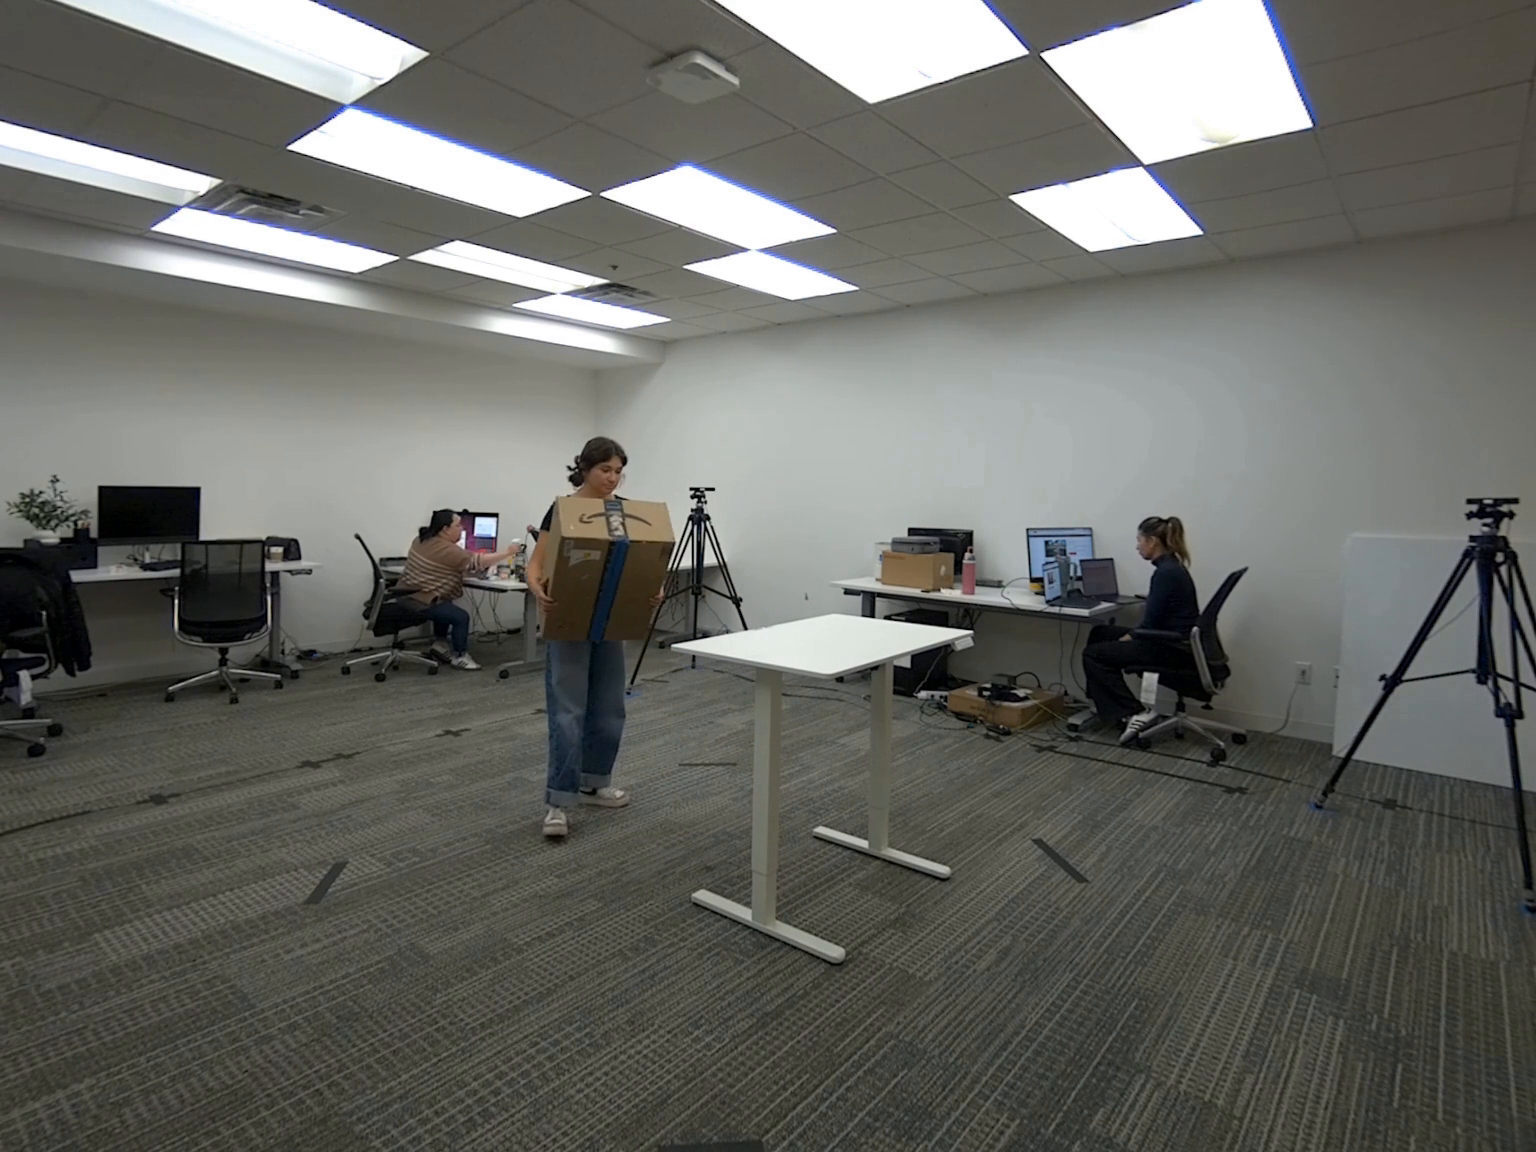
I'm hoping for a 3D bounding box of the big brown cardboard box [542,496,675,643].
[{"bbox_3d":[-0.640,-0.019,3.236,0.409,0.580,0.242,2,46,-21],"label":"big brown cardboard box"}]
